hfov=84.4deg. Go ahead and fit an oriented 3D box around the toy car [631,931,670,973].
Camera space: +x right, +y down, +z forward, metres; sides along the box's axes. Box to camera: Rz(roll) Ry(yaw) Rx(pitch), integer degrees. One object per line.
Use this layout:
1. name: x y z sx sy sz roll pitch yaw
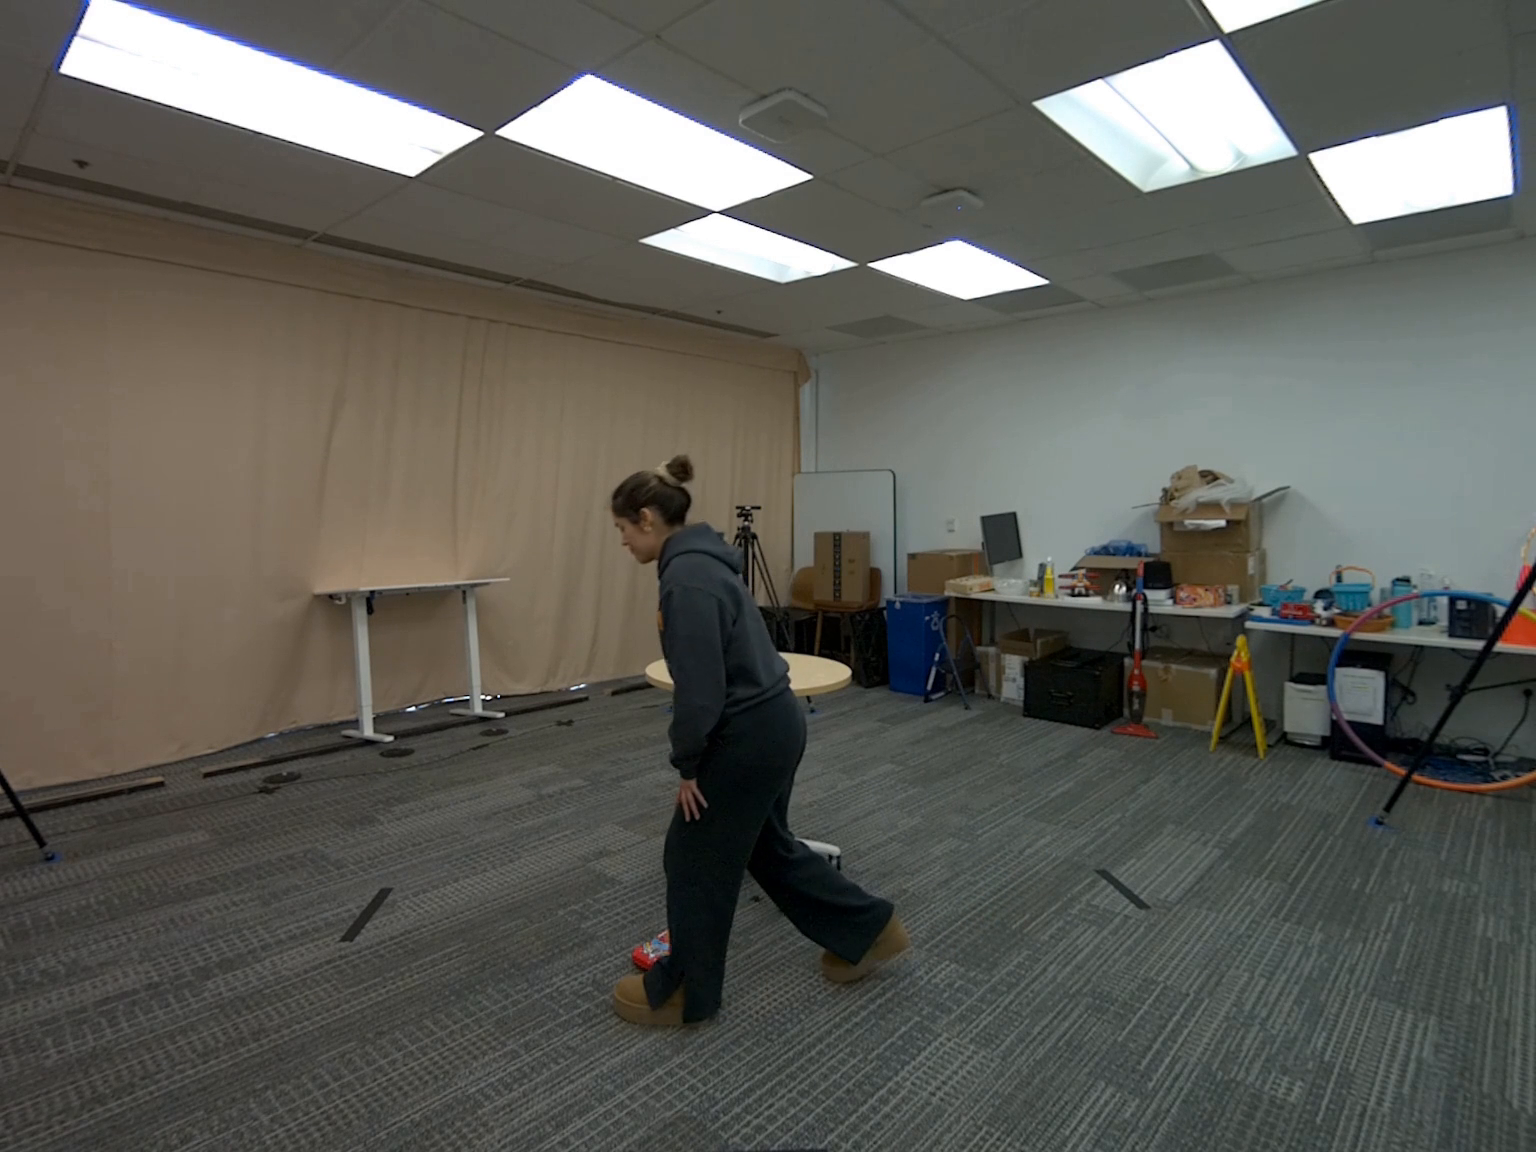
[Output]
1. toy car: -0.271 1.148 2.598 0.134 0.082 0.248 3 18 44
